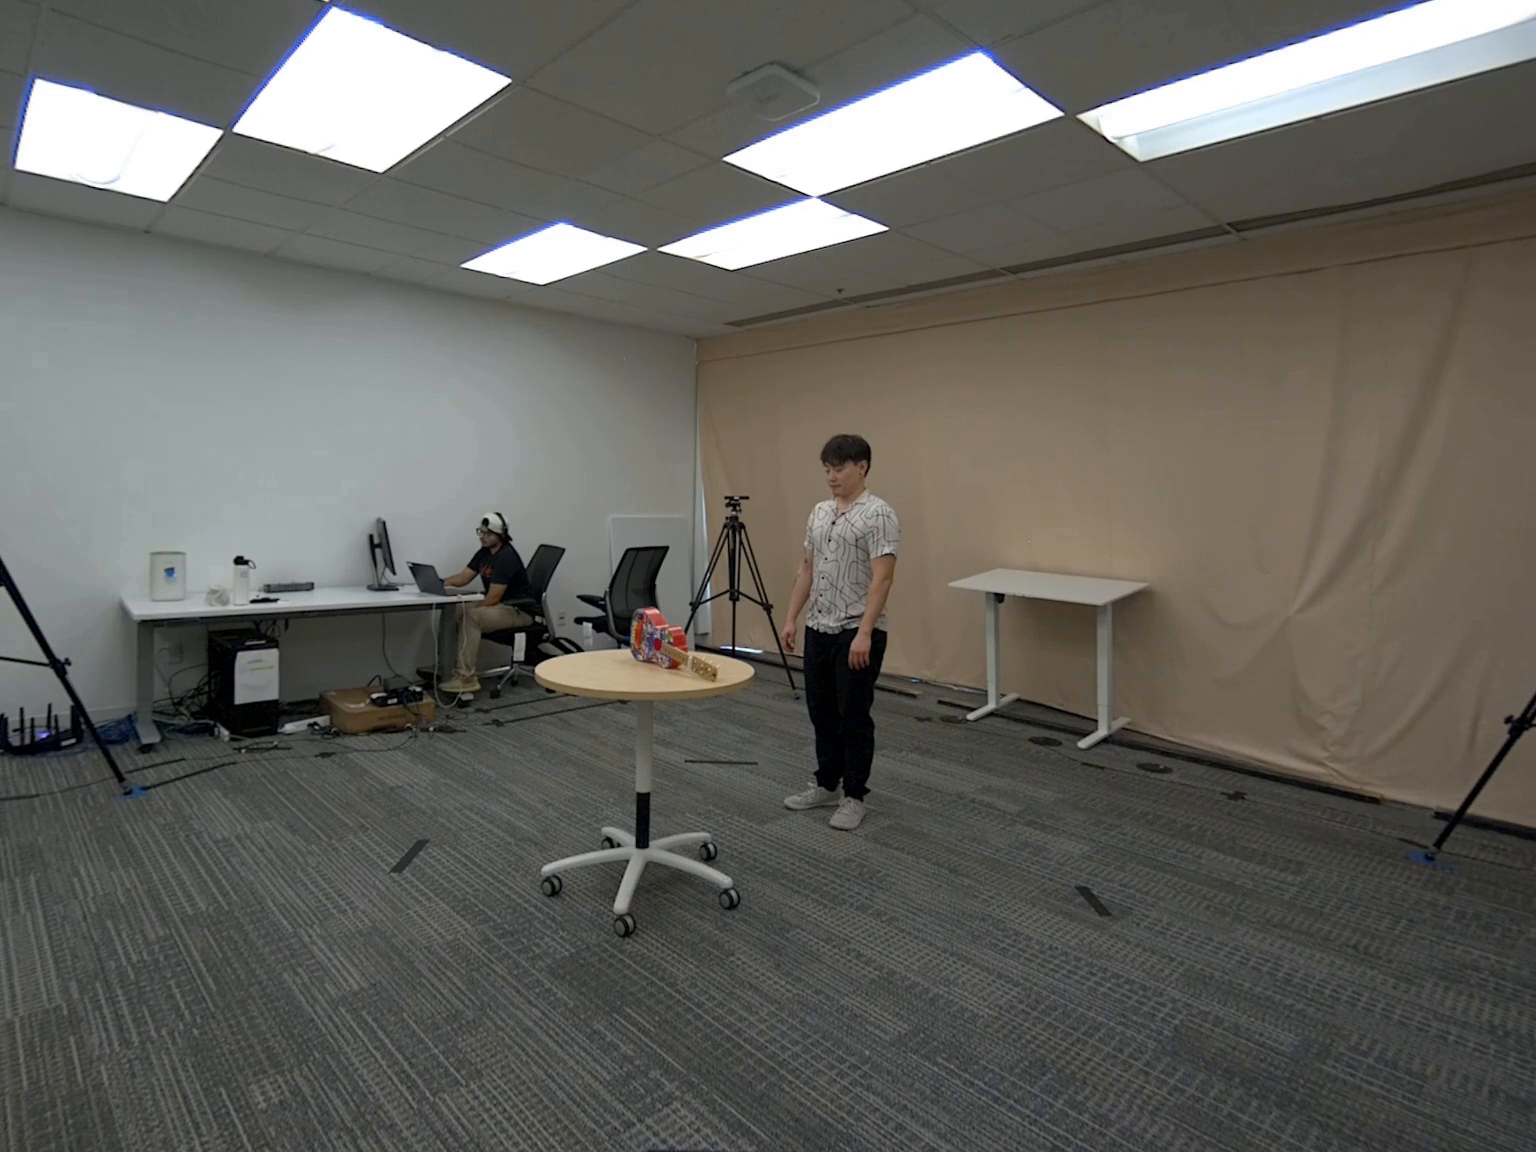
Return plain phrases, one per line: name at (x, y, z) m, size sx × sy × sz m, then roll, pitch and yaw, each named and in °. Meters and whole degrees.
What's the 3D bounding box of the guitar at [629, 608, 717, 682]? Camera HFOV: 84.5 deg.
guitar at (-0.335, 0.289, 2.963) m, size 0.069 × 0.191 × 0.514 m, roll -2°, pitch 24°, yaw -43°
